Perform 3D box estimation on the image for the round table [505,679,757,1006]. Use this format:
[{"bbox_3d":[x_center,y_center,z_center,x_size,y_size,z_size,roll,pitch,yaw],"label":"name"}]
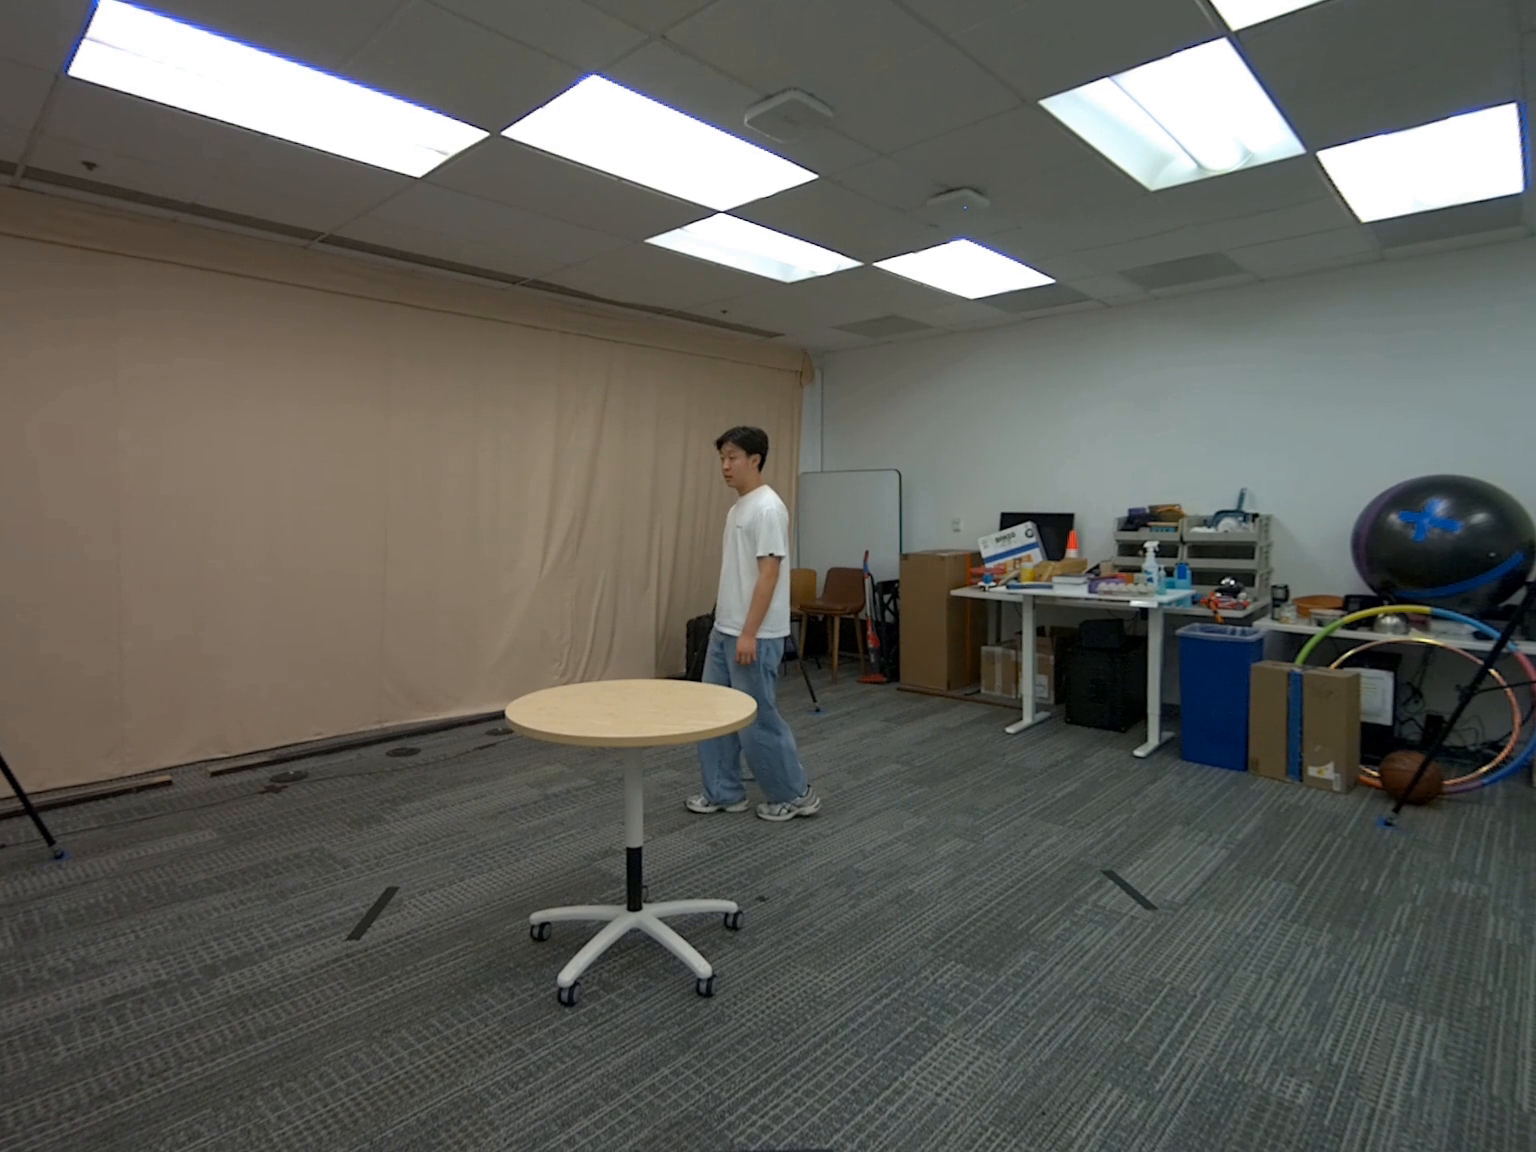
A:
[{"bbox_3d":[-0.411,0.787,2.607,0.763,0.792,0.766,-1,4,-2],"label":"round table"}]
